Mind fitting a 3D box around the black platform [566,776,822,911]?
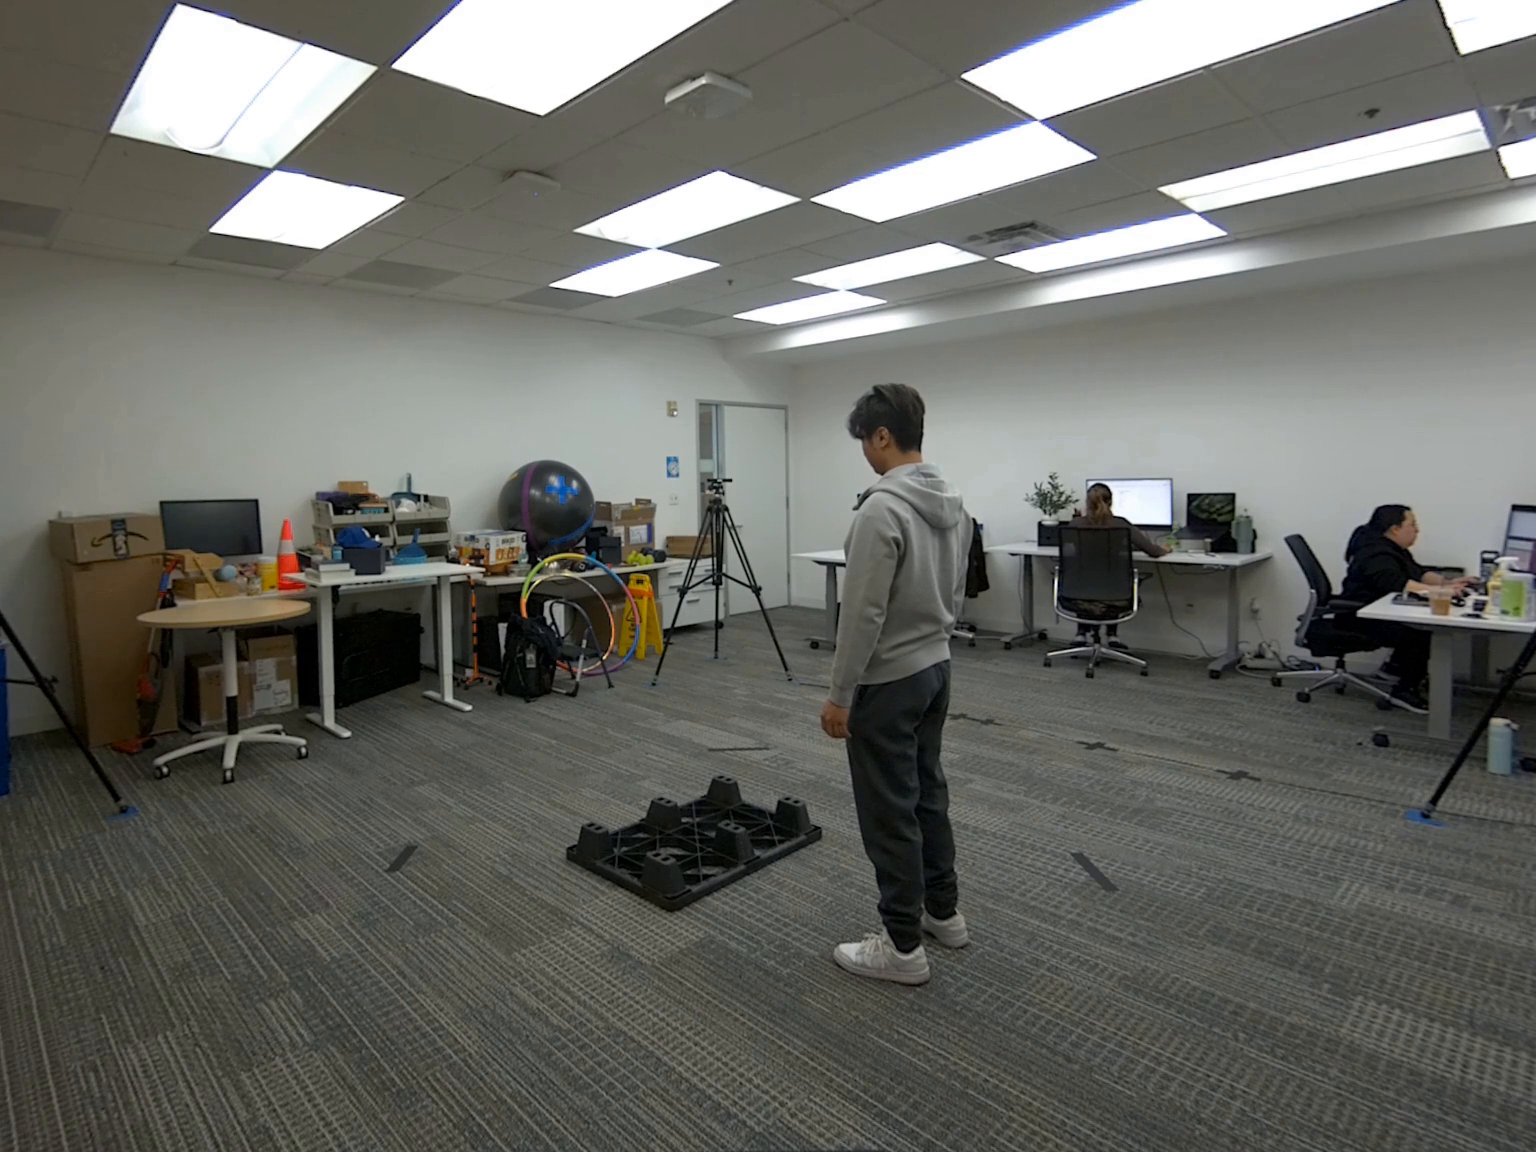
[{"bbox_3d":[-0.268,0.966,3.250,0.624,0.142,0.785,5,9,43],"label":"black platform"}]
